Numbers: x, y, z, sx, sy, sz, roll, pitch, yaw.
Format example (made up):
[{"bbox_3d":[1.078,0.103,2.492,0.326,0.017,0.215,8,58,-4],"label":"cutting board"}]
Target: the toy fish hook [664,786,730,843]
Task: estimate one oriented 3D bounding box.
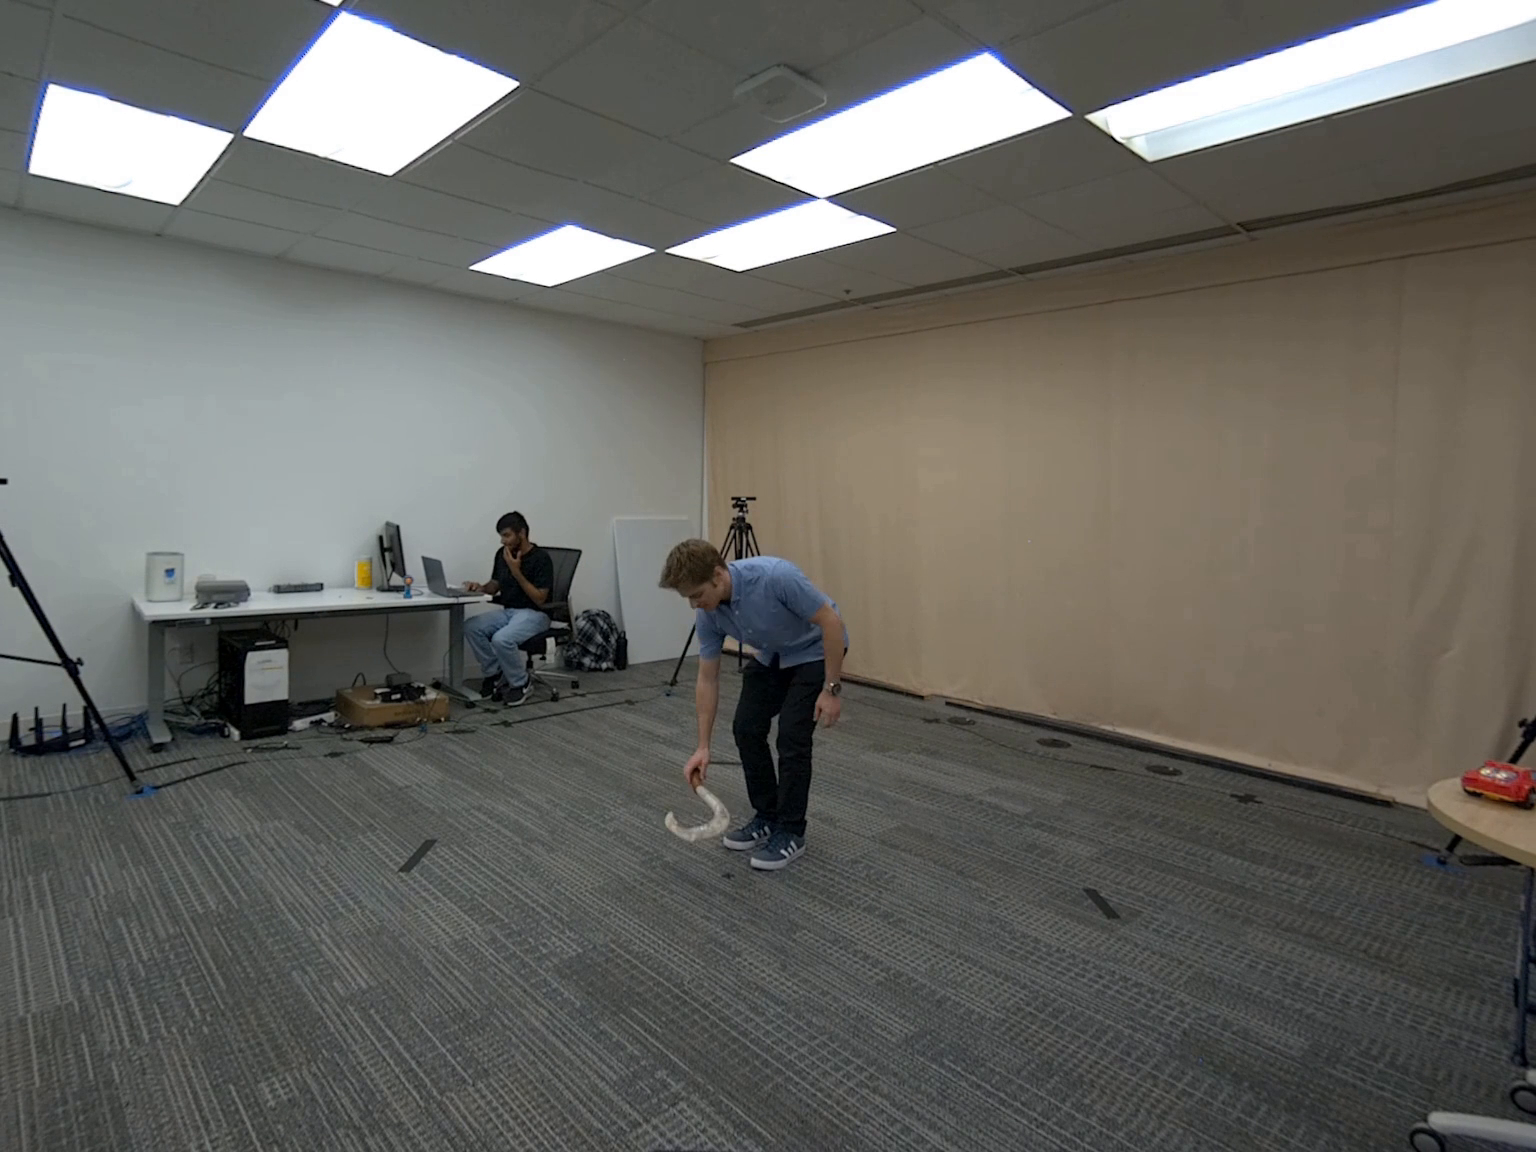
[{"bbox_3d":[-0.293,0.821,3.110,0.223,0.048,0.516,-7,16,-9],"label":"toy fish hook"}]
